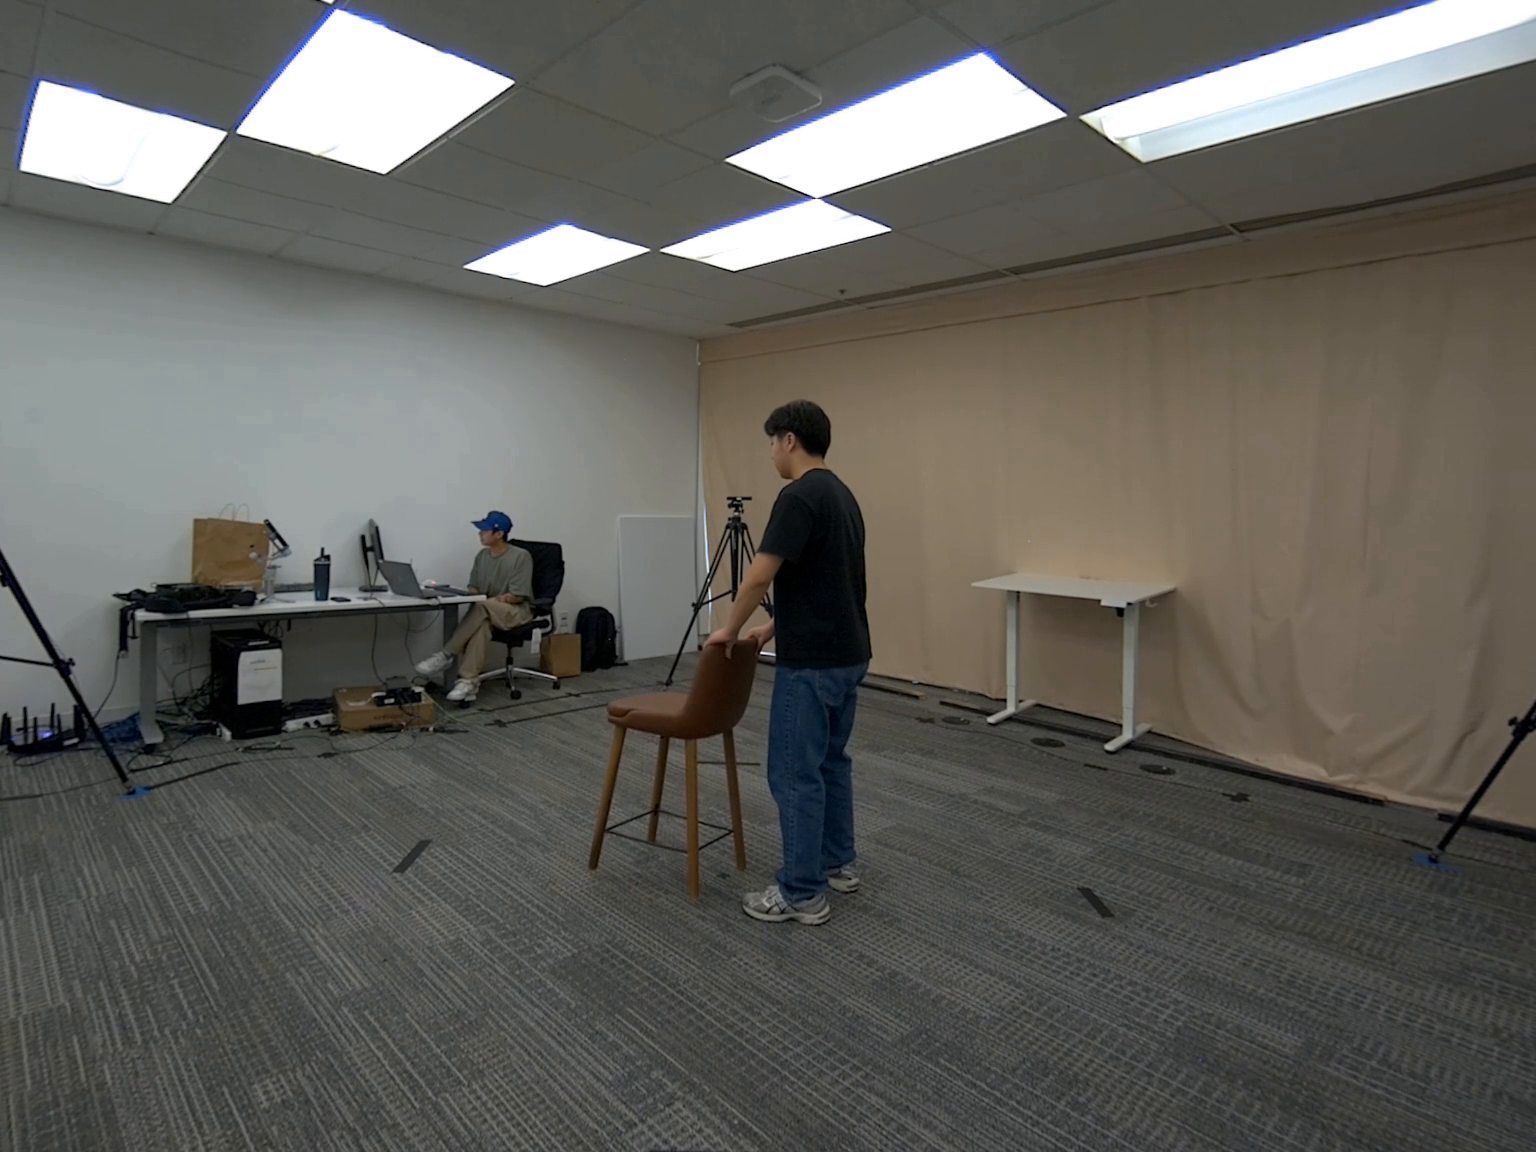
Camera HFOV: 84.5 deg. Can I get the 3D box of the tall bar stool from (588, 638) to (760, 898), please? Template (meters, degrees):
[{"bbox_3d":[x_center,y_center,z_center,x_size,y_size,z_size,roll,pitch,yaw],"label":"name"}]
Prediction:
[{"bbox_3d":[-0.331,0.647,3.125,0.478,0.890,0.446,6,0,29],"label":"tall bar stool"}]
